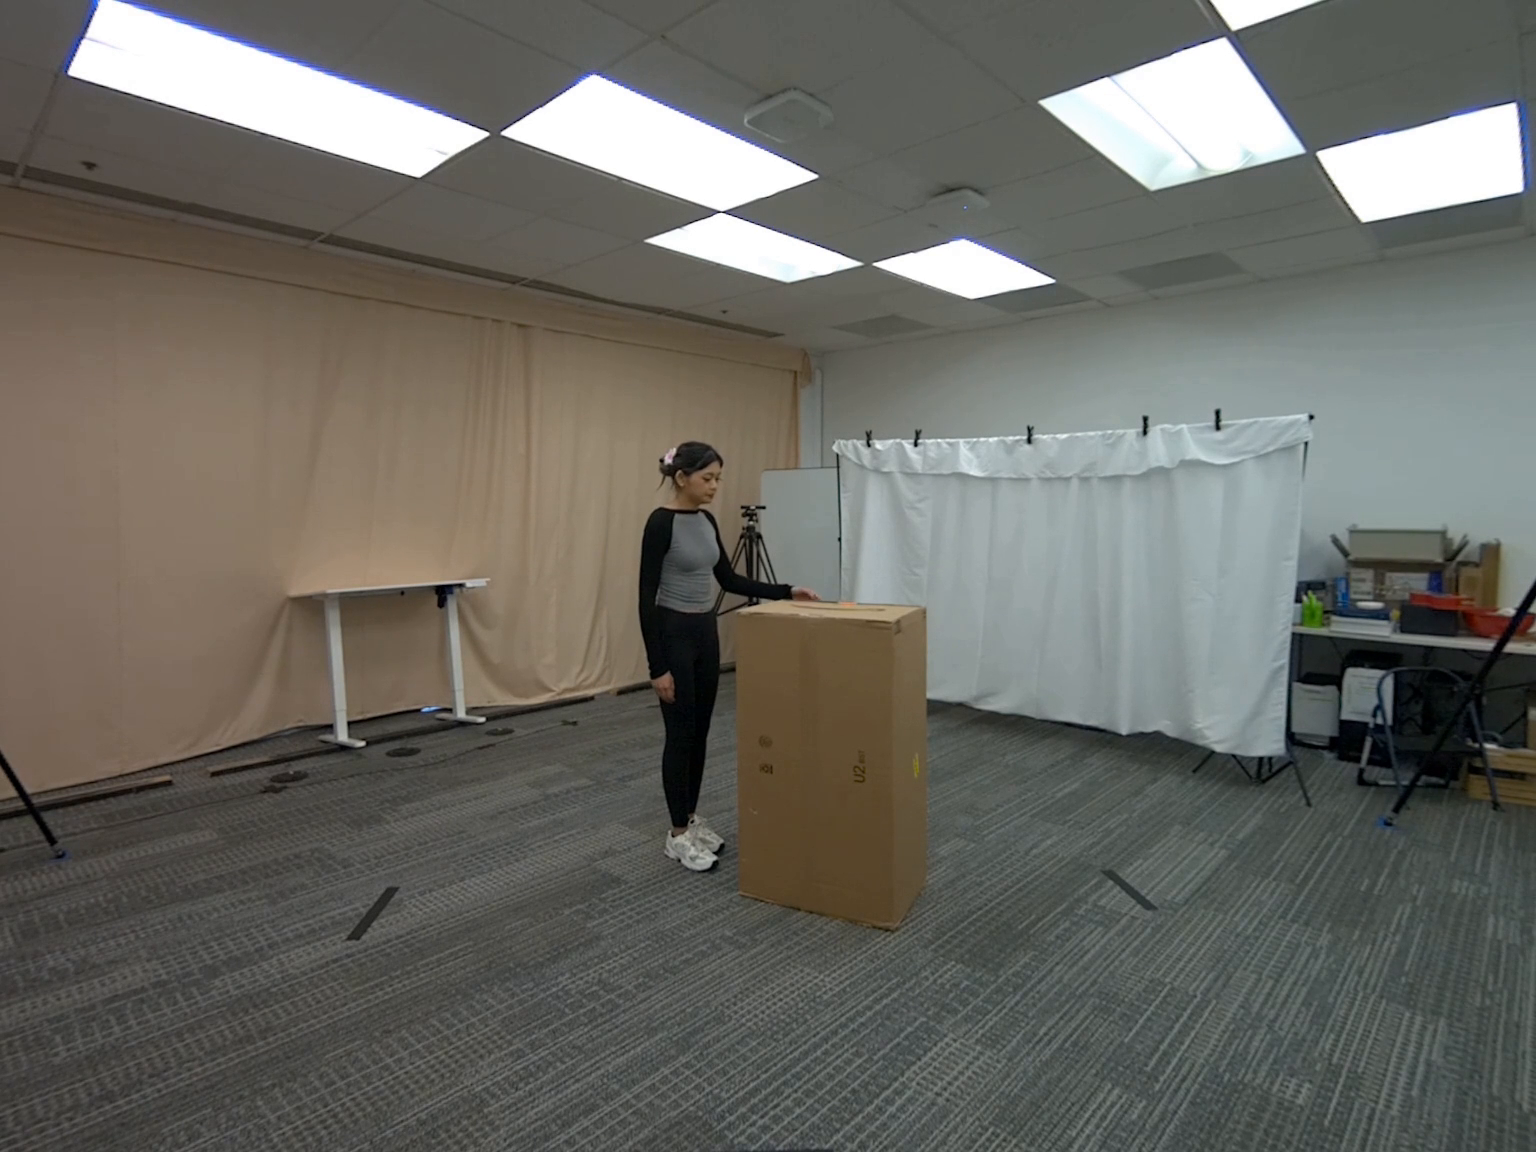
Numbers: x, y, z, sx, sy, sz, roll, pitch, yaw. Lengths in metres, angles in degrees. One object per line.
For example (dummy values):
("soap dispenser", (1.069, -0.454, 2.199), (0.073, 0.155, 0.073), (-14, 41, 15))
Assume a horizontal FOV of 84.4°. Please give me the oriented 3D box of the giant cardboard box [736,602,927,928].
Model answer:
("giant cardboard box", (0.244, 0.632, 3.041), (0.599, 1.024, 0.436), (1, 4, 26))
